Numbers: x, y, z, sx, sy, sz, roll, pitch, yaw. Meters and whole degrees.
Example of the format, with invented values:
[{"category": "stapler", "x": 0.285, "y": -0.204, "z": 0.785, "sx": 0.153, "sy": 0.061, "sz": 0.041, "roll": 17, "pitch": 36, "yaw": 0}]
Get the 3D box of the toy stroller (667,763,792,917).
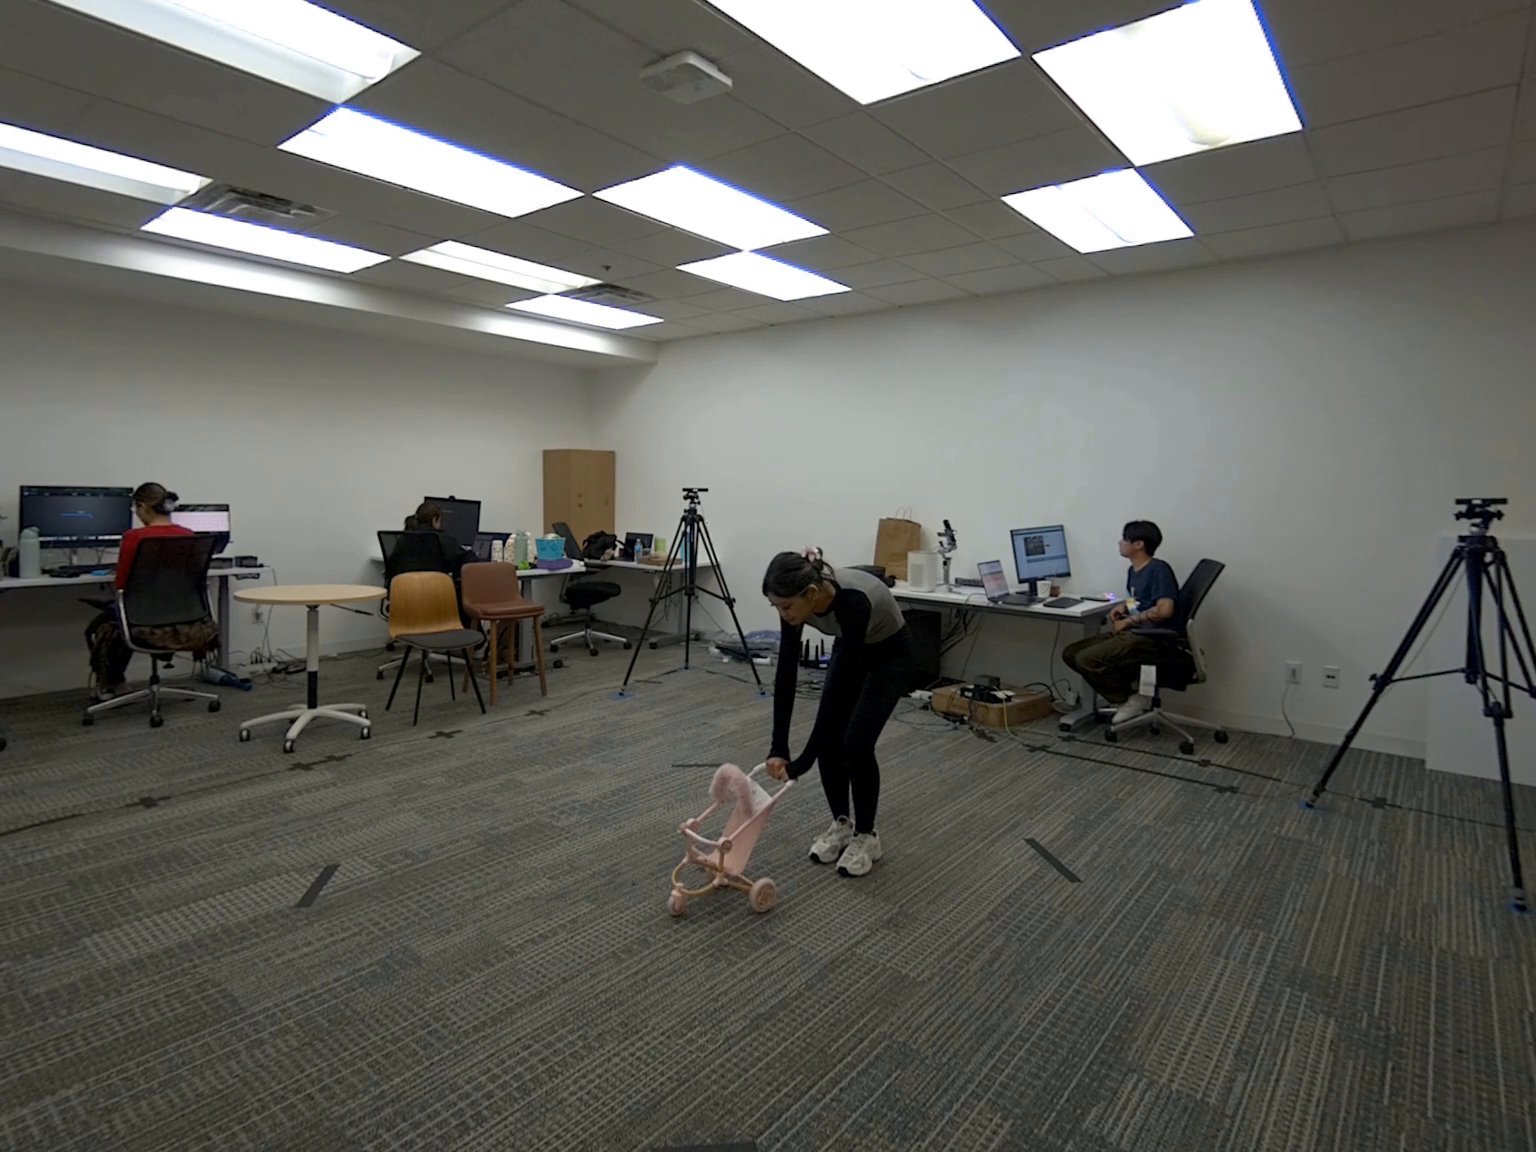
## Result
[{"category": "toy stroller", "x": -0.146, "y": 0.870, "z": 2.862, "sx": 0.329, "sy": 0.537, "sz": 0.290, "roll": 19, "pitch": -7, "yaw": -32}]
